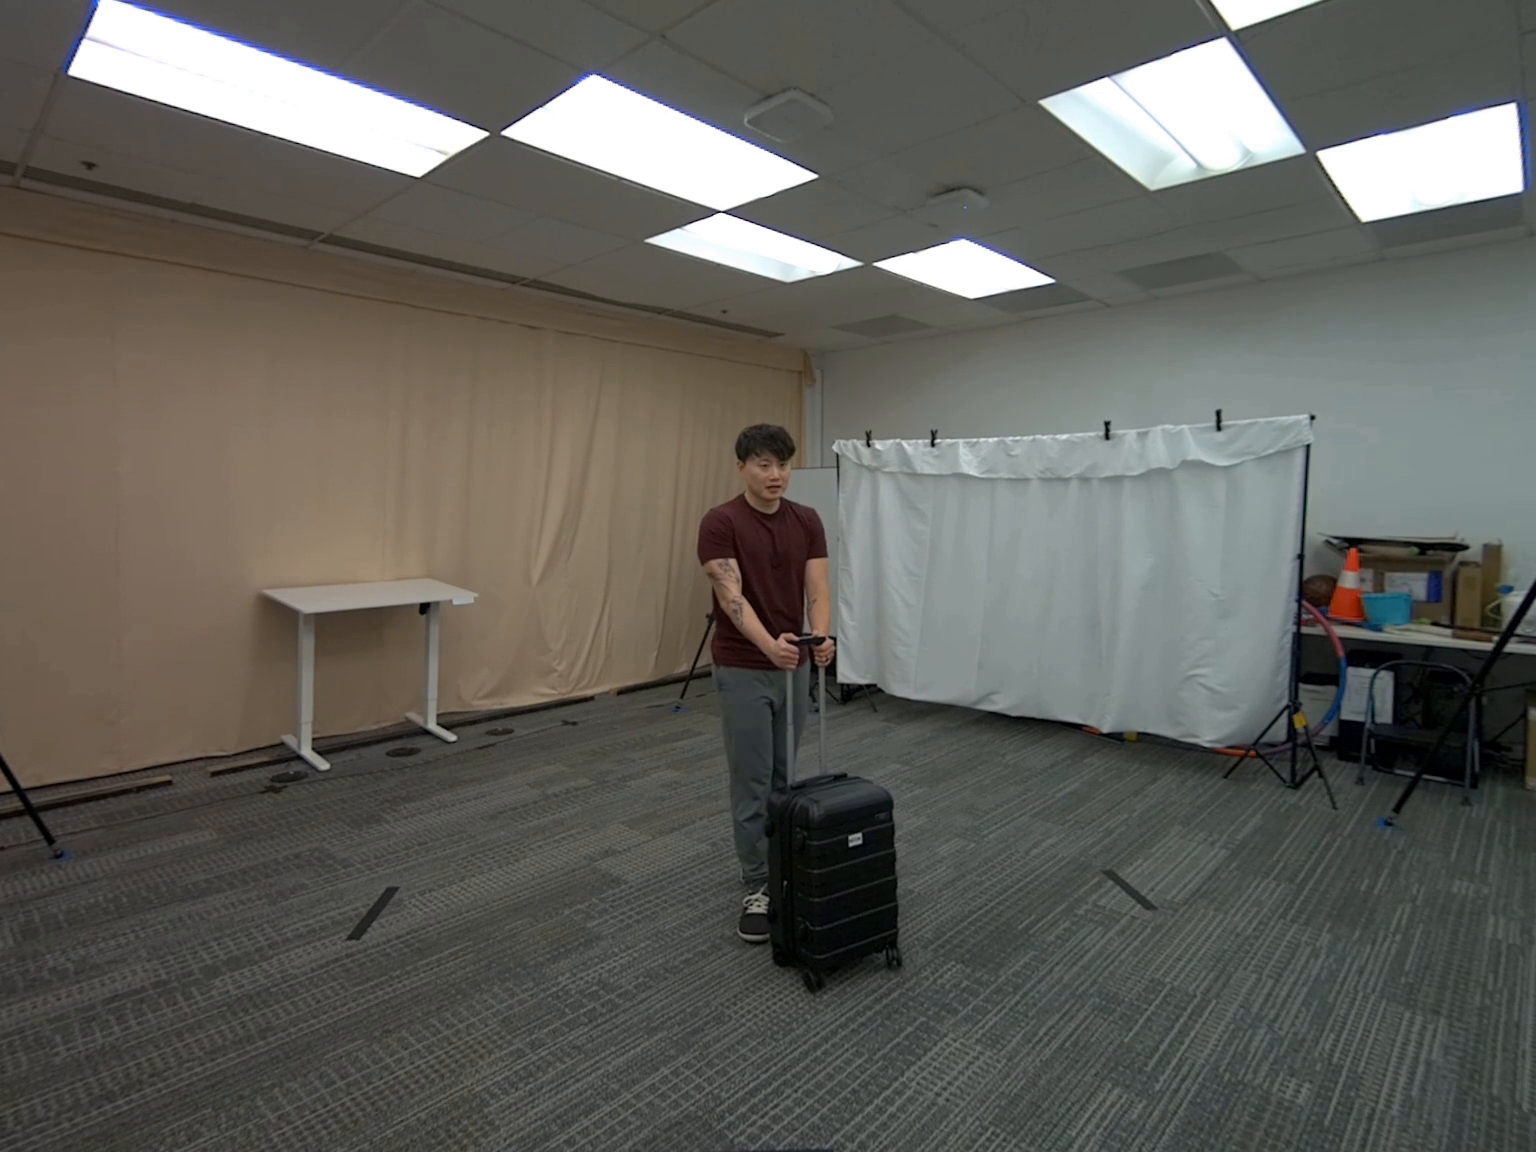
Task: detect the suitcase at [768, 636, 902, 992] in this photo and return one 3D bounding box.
[{"bbox_3d":[0.200,0.699,2.552,0.373,0.977,0.265,-1,2,-33],"label":"suitcase"}]
